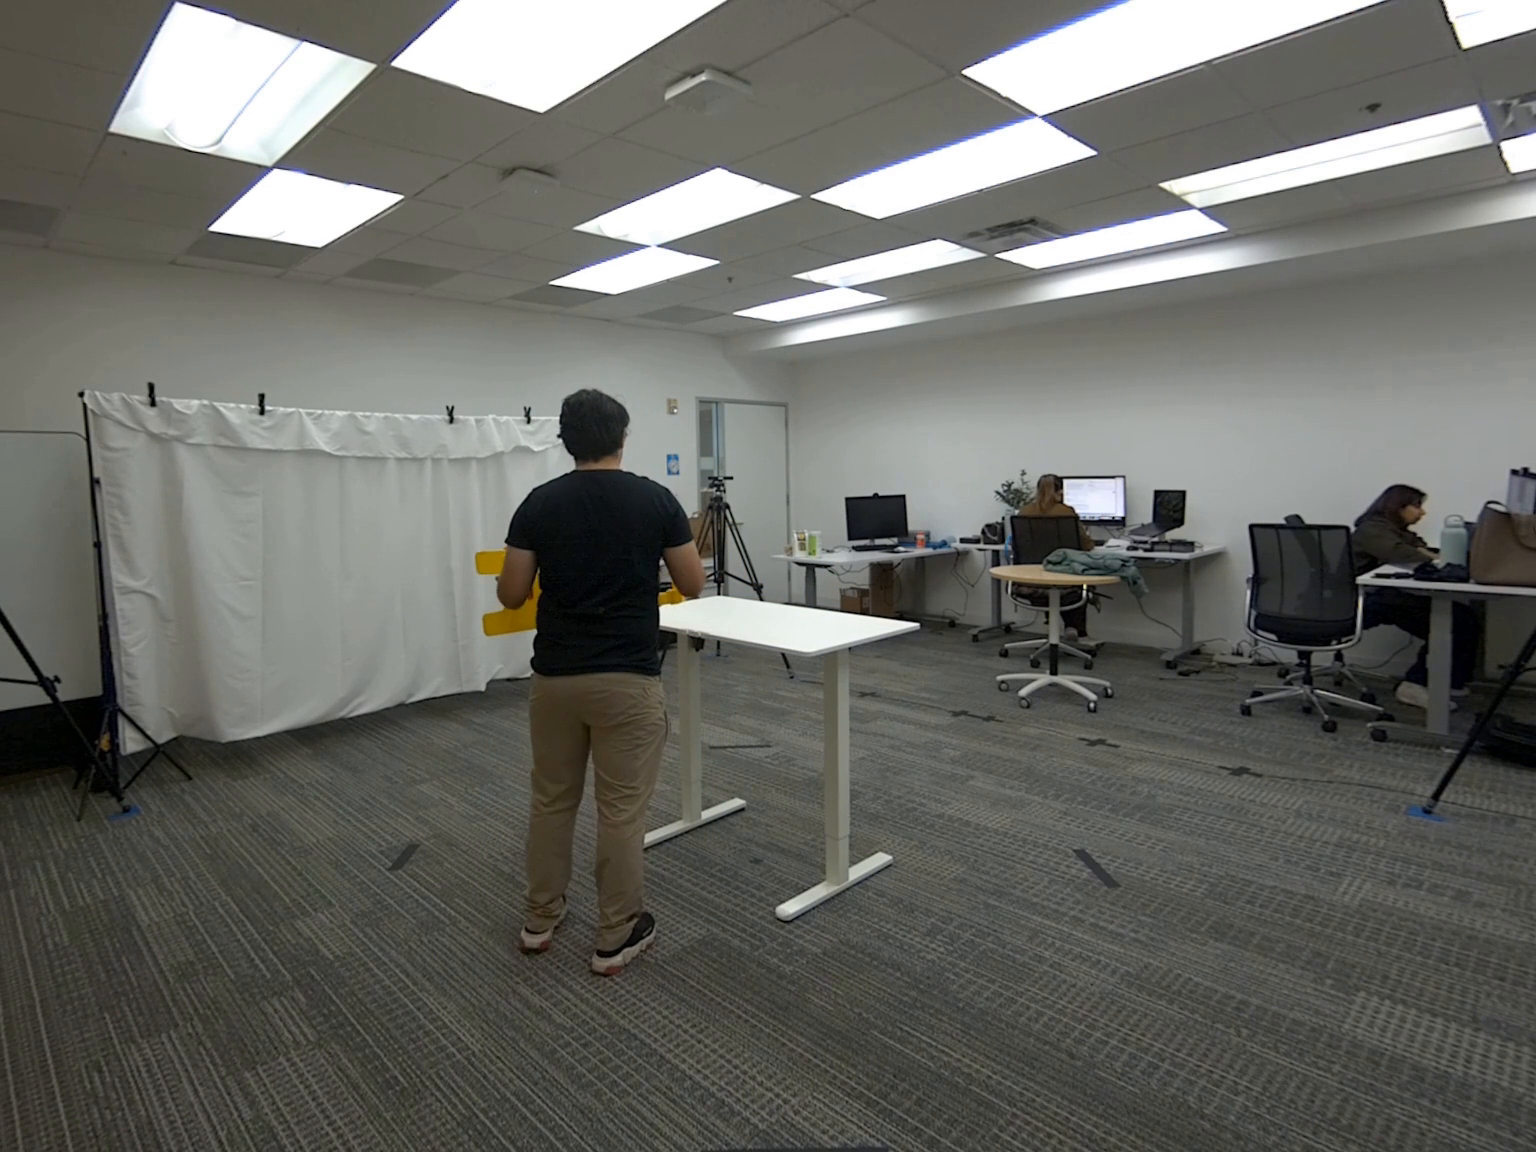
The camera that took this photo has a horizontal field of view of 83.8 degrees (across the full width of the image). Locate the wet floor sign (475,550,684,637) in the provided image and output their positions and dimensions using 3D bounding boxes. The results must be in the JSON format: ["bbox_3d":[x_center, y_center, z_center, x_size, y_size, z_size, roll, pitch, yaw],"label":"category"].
[{"bbox_3d":[-0.601,0.022,2.853,0.650,0.281,0.289,-6,4,6],"label":"wet floor sign"}]
